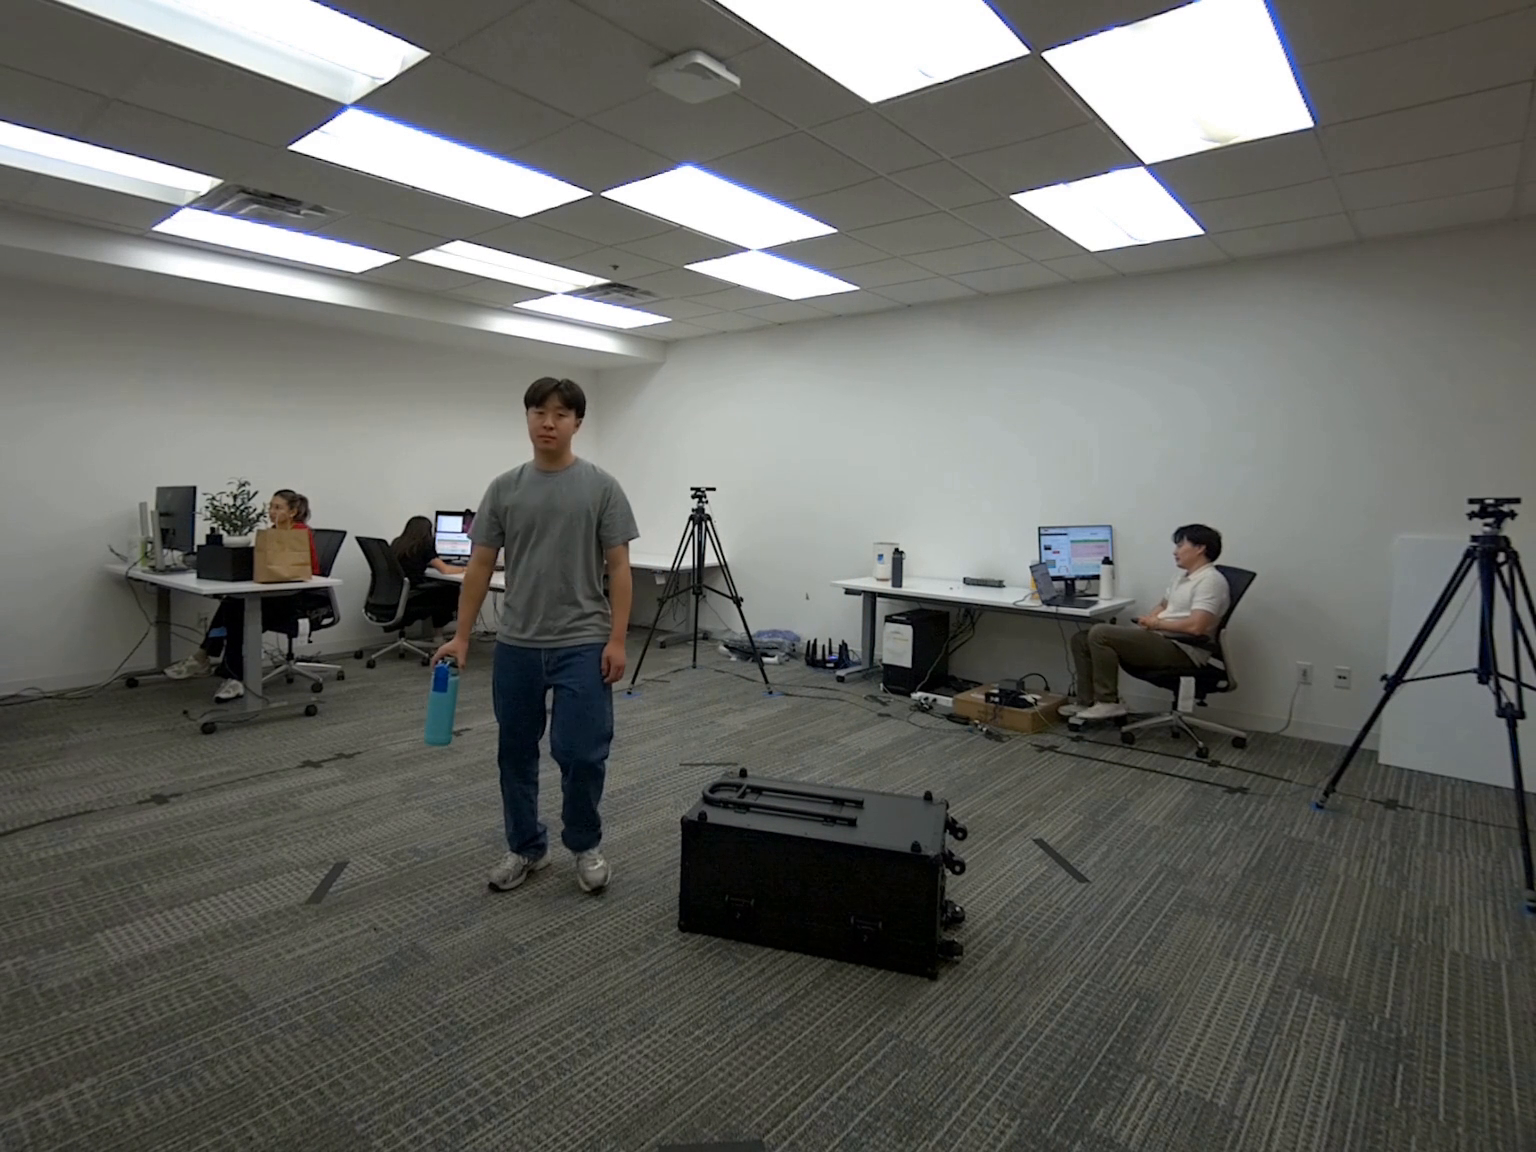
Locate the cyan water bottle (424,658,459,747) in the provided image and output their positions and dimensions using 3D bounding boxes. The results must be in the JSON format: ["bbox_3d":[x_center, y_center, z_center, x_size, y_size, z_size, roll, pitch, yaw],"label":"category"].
[{"bbox_3d":[-1.066,0.410,2.796,0.092,0.283,0.092,8,2,-2],"label":"cyan water bottle"}]
